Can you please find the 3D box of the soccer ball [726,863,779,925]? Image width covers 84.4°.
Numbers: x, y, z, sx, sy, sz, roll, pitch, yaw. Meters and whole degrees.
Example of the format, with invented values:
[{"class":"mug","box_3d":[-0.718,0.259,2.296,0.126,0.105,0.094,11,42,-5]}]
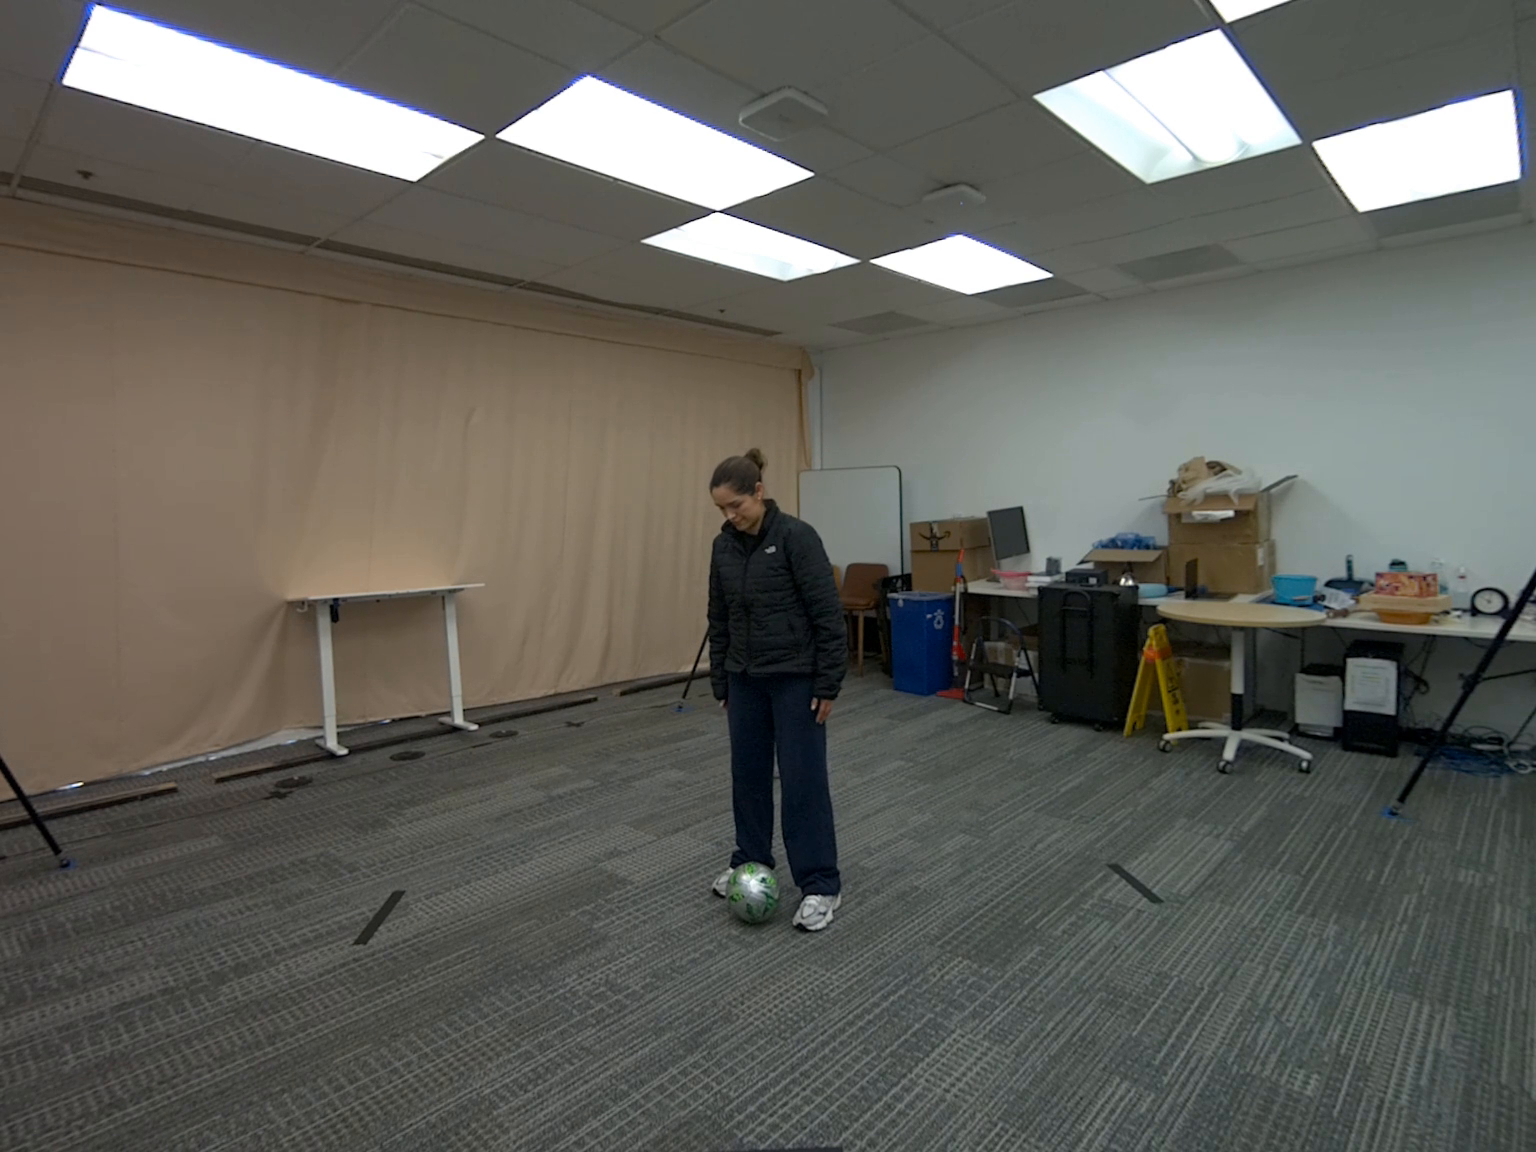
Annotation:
[{"class":"soccer ball","box_3d":[-0.046,1.050,2.826,0.187,0.187,0.188,-1,4,-2]}]
